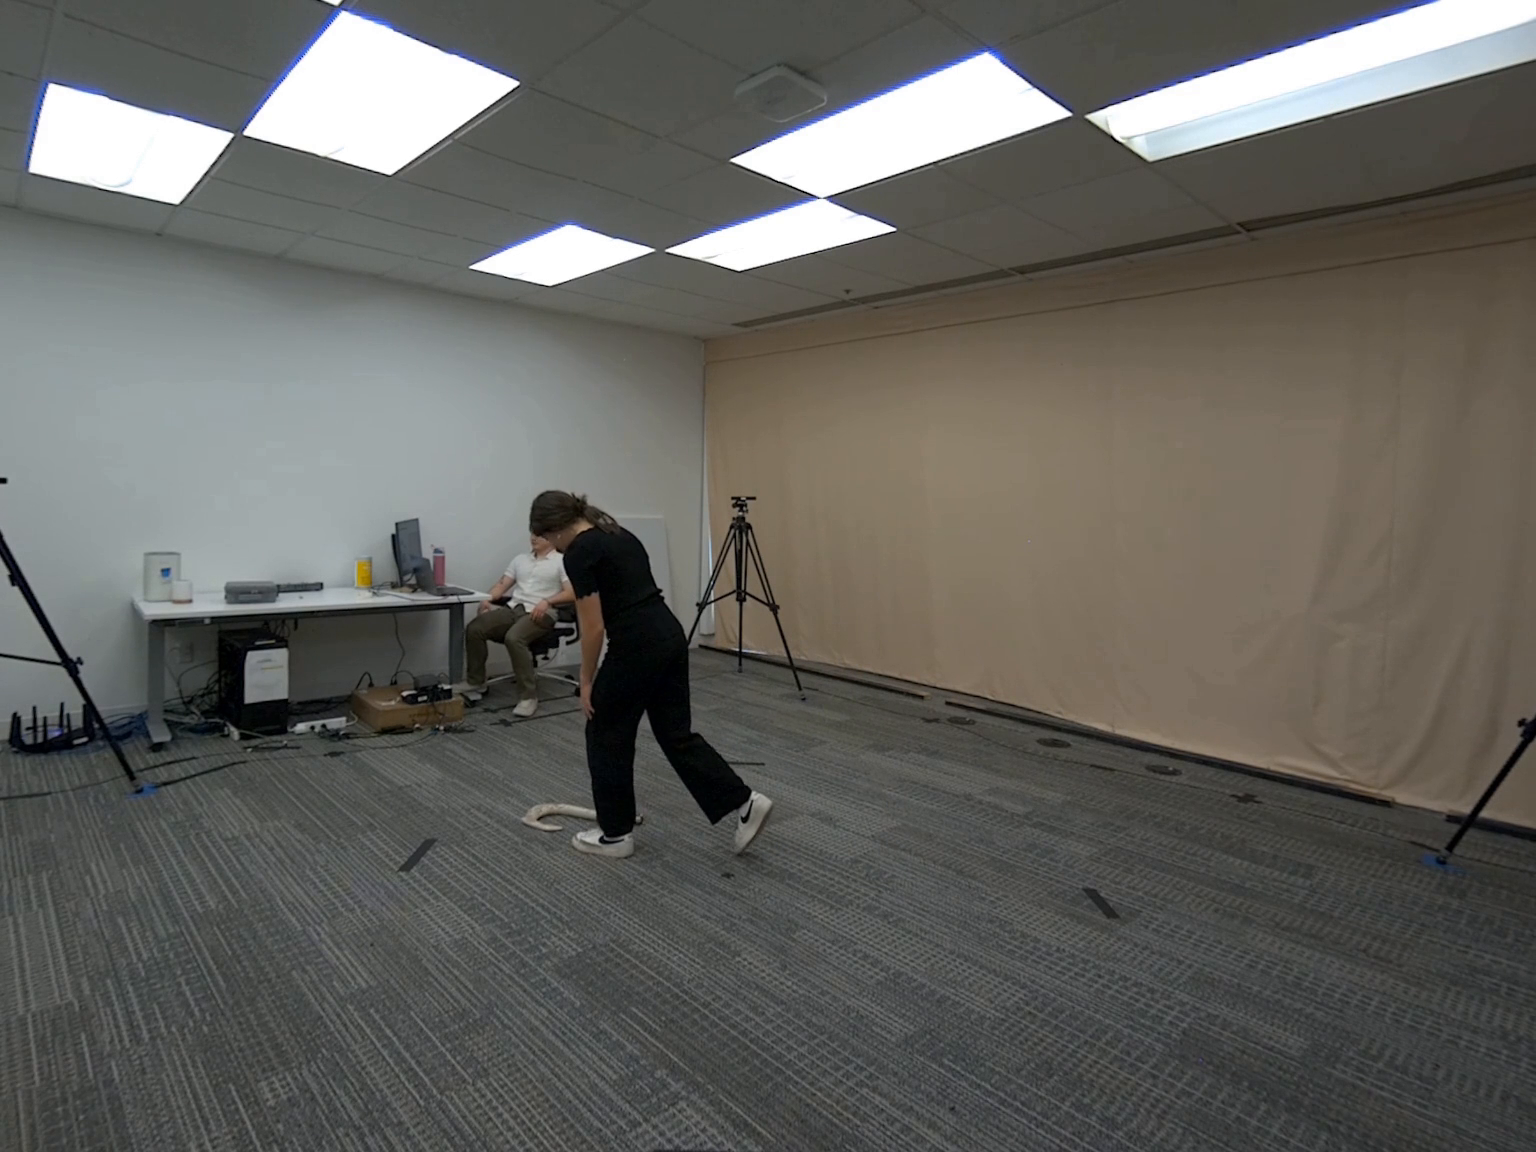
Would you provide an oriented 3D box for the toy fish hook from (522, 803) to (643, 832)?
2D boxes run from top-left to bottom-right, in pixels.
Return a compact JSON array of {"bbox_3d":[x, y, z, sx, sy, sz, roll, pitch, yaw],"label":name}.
[{"bbox_3d":[-0.796,1.034,3.564,0.510,0.048,0.225,1,12,8],"label":"toy fish hook"}]
